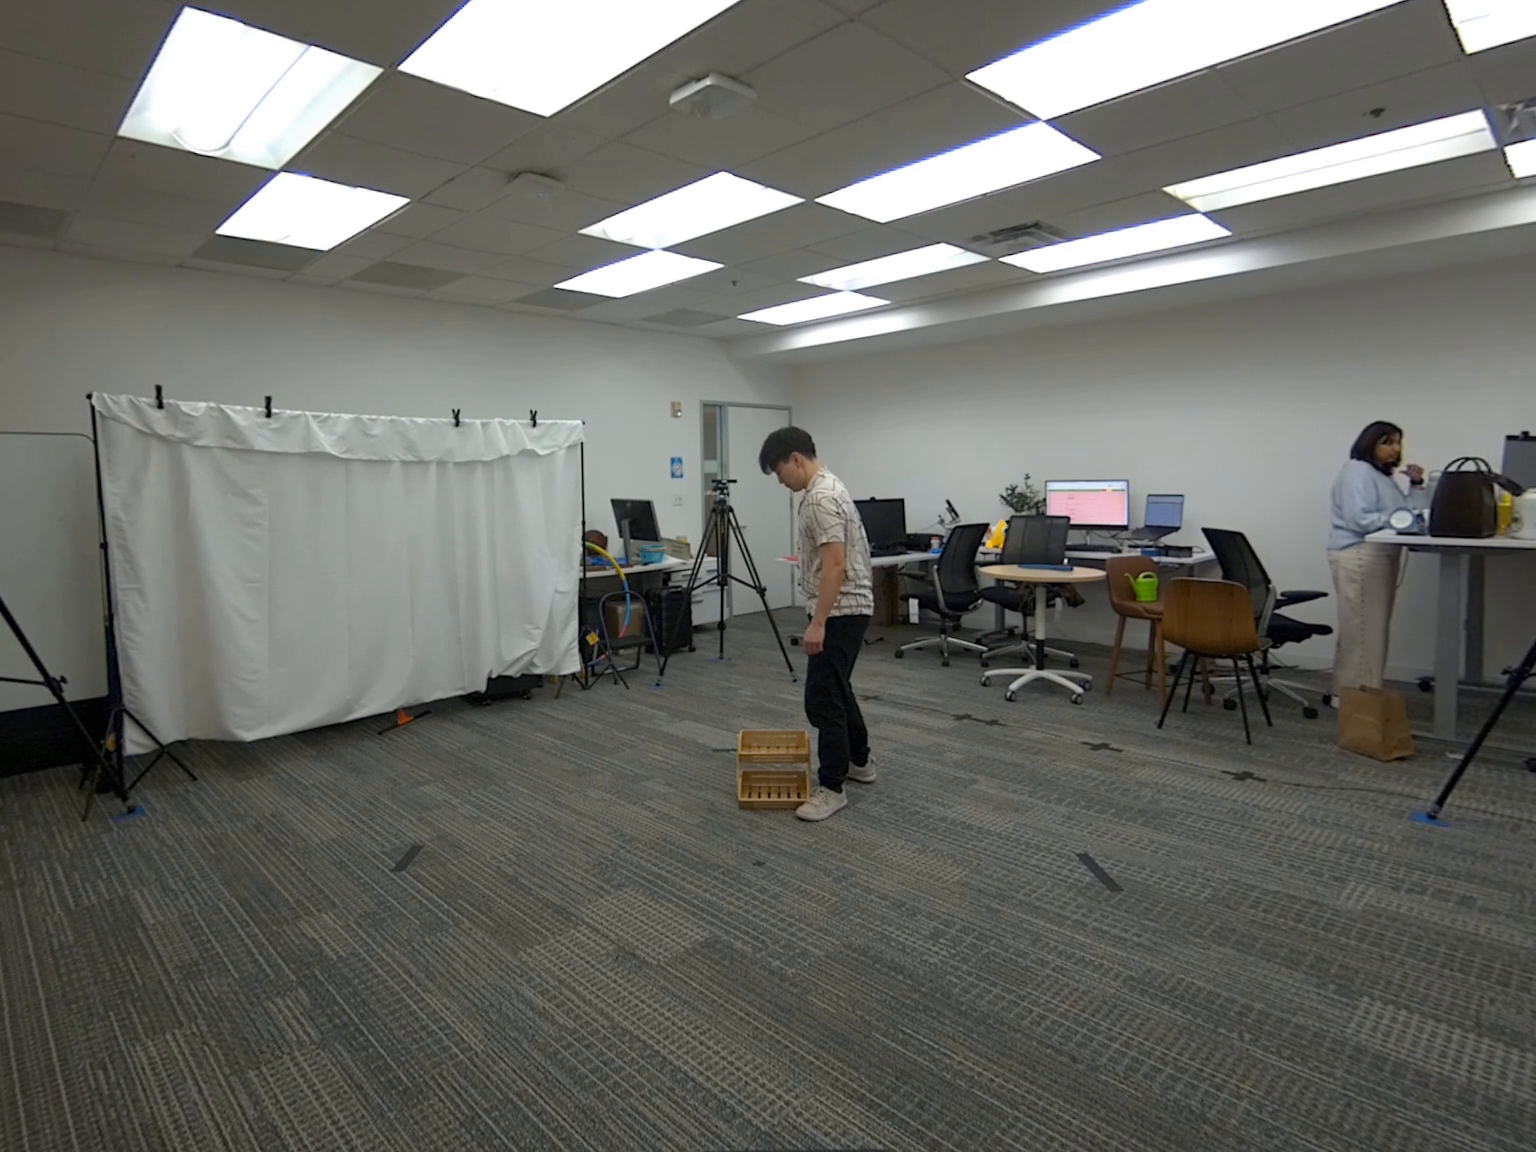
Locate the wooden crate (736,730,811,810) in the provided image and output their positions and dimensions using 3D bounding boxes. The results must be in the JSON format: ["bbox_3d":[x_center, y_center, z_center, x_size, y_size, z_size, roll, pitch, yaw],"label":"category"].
[{"bbox_3d":[0.026,0.840,3.739,0.325,0.272,0.302,-1,5,2],"label":"wooden crate"}]
